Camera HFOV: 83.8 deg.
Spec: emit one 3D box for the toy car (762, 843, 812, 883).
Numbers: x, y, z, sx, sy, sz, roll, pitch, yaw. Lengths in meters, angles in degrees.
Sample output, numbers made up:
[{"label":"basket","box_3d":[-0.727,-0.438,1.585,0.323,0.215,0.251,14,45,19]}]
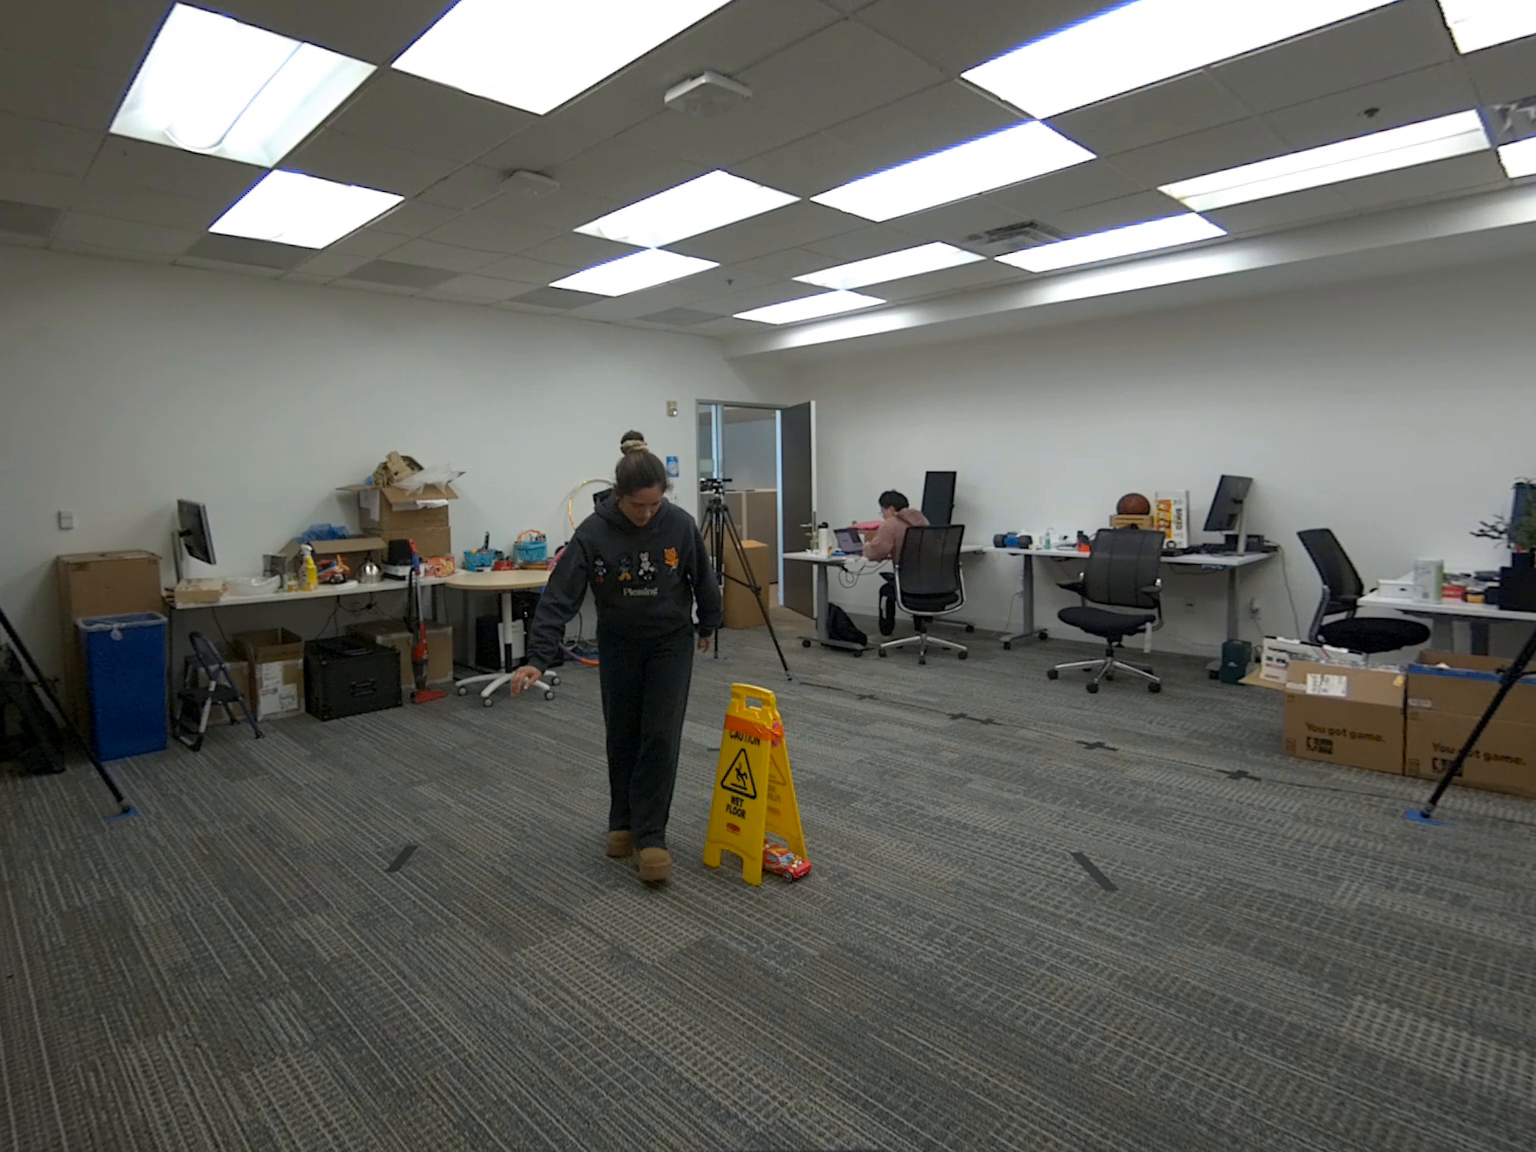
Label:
[{"label":"toy car","box_3d":[0.022,1.021,3.029,0.264,0.082,0.127,17,16,41]}]
